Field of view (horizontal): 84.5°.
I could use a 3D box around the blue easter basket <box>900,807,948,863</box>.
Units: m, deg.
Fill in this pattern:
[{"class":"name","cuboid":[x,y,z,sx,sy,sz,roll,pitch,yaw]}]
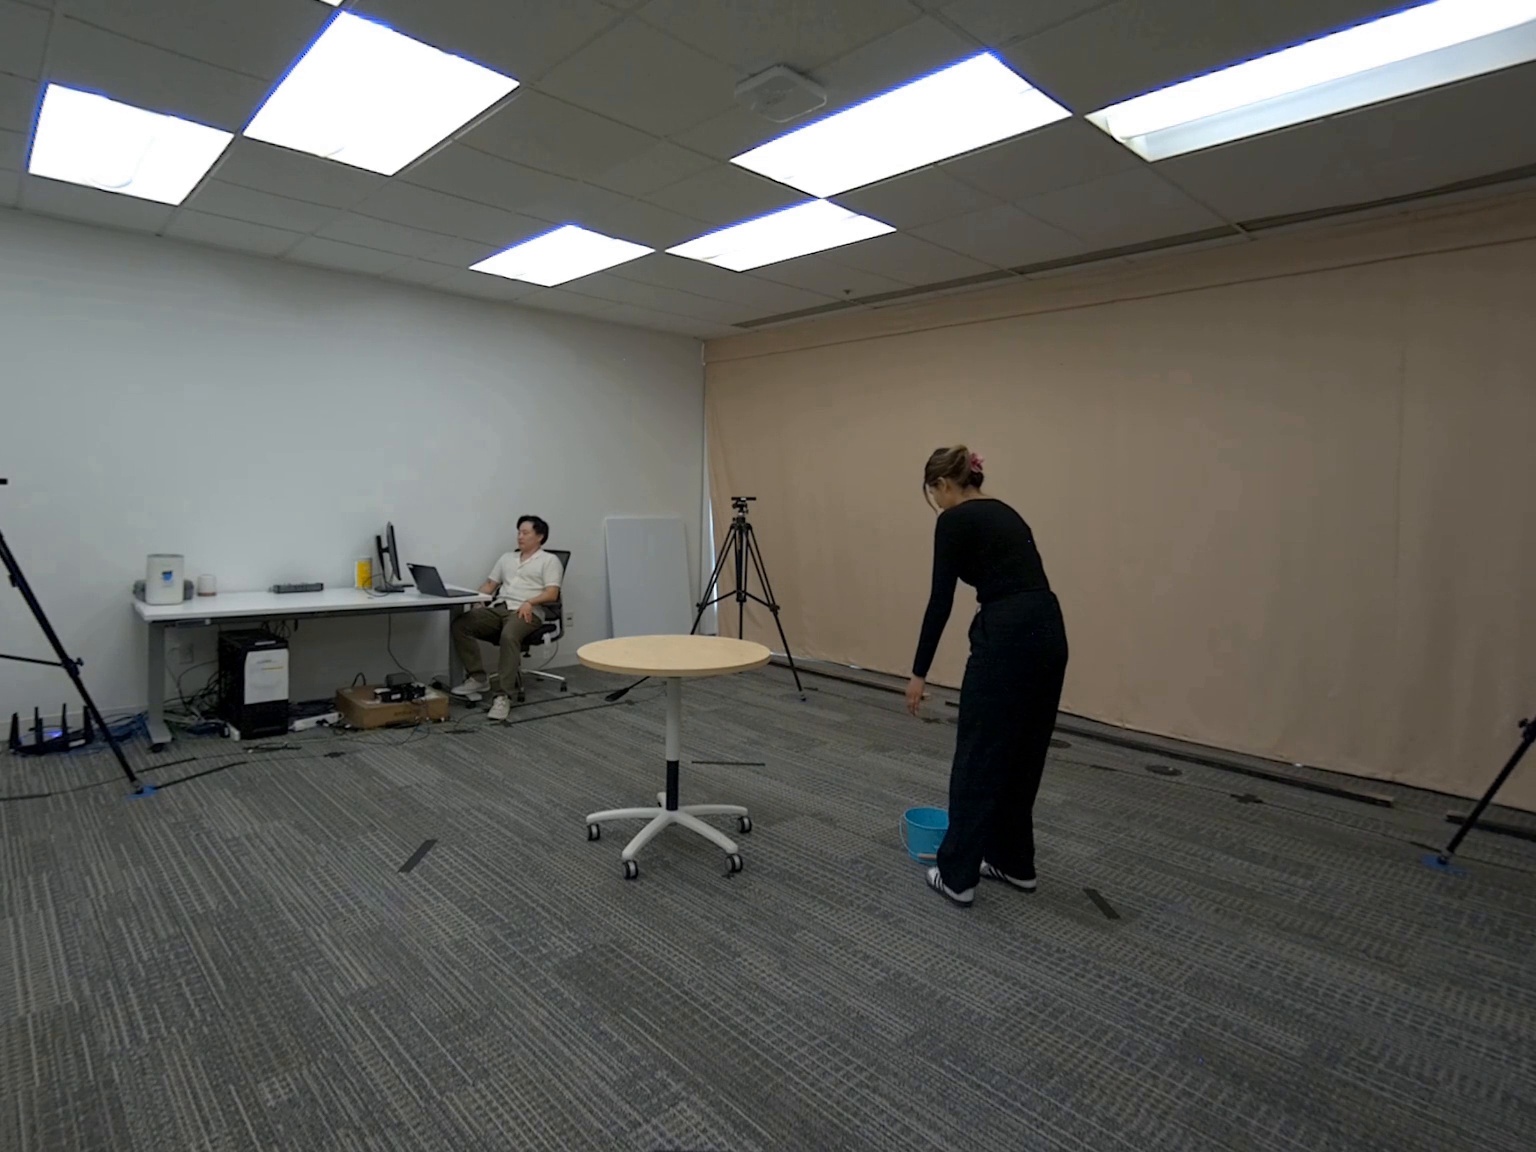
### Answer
[{"class":"blue easter basket","cuboid":[0.644,1.037,3.333,0.243,0.155,0.244,2,4,-1]}]
